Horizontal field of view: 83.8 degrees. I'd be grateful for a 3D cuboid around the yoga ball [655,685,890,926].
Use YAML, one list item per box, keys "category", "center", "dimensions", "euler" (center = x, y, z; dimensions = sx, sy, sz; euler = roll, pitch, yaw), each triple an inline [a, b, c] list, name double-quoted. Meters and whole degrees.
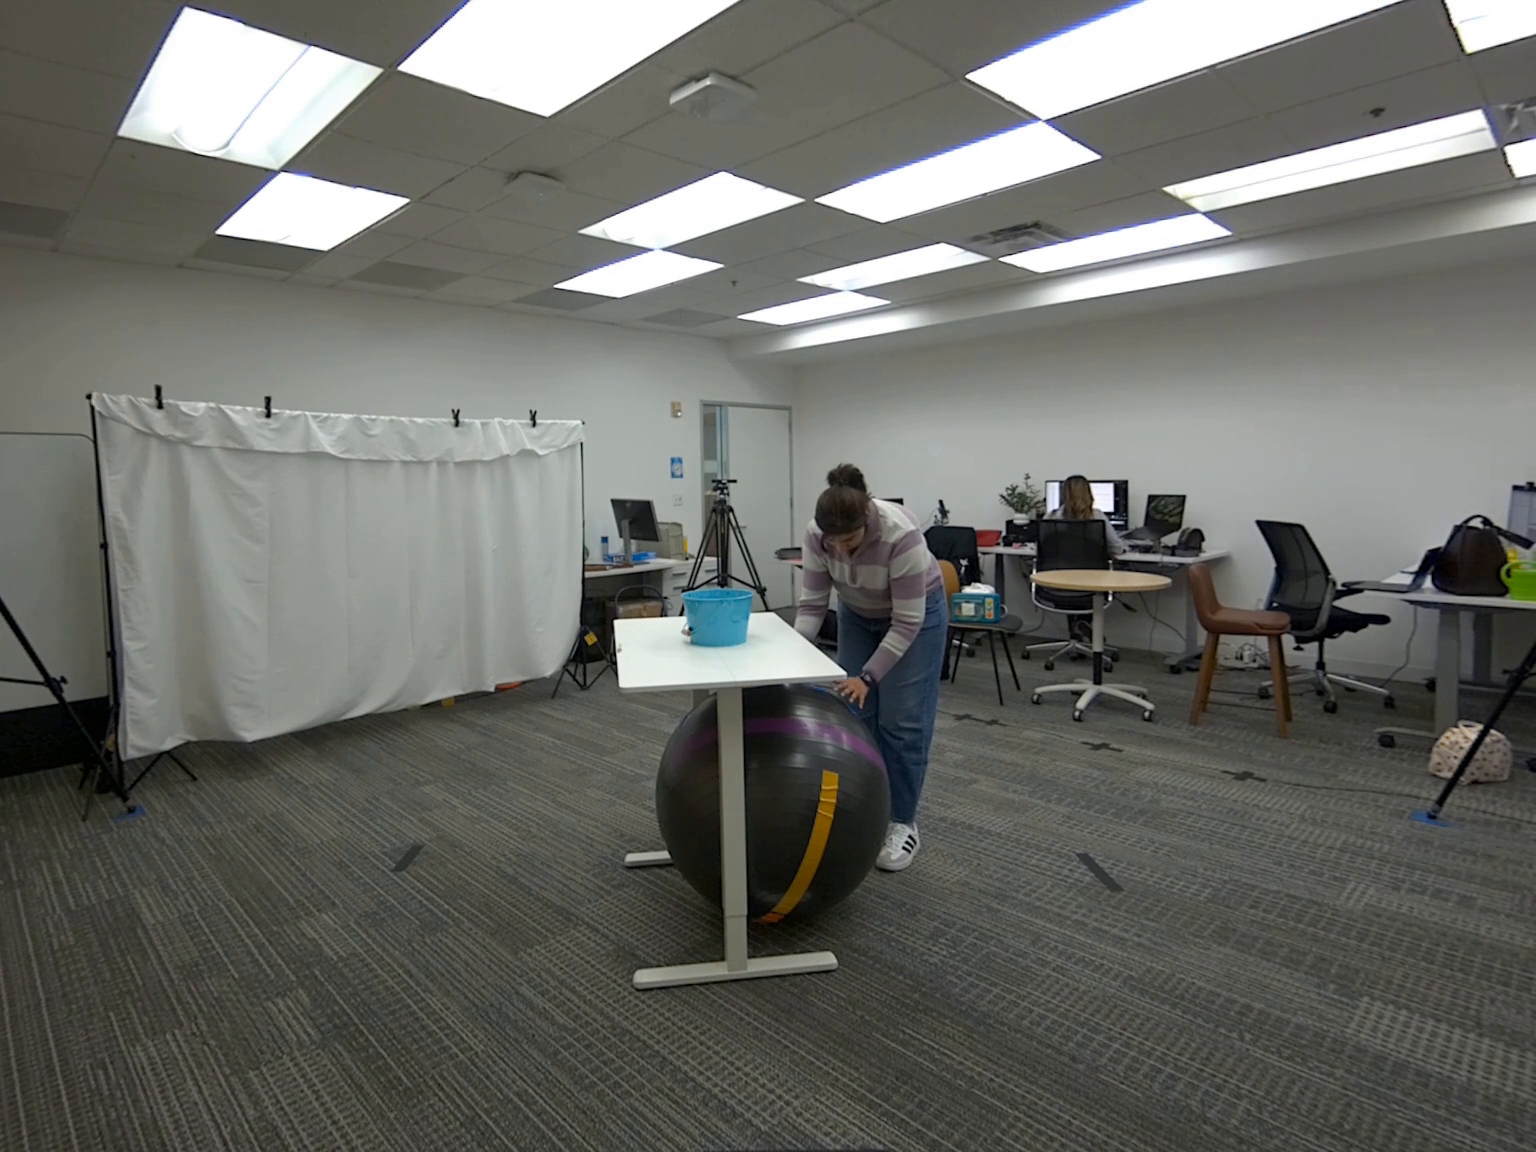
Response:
- category: "yoga ball"
  center: [0.018, 0.721, 2.762]
  dimensions: [0.757, 0.755, 0.762]
  euler: [-1, 5, -2]
